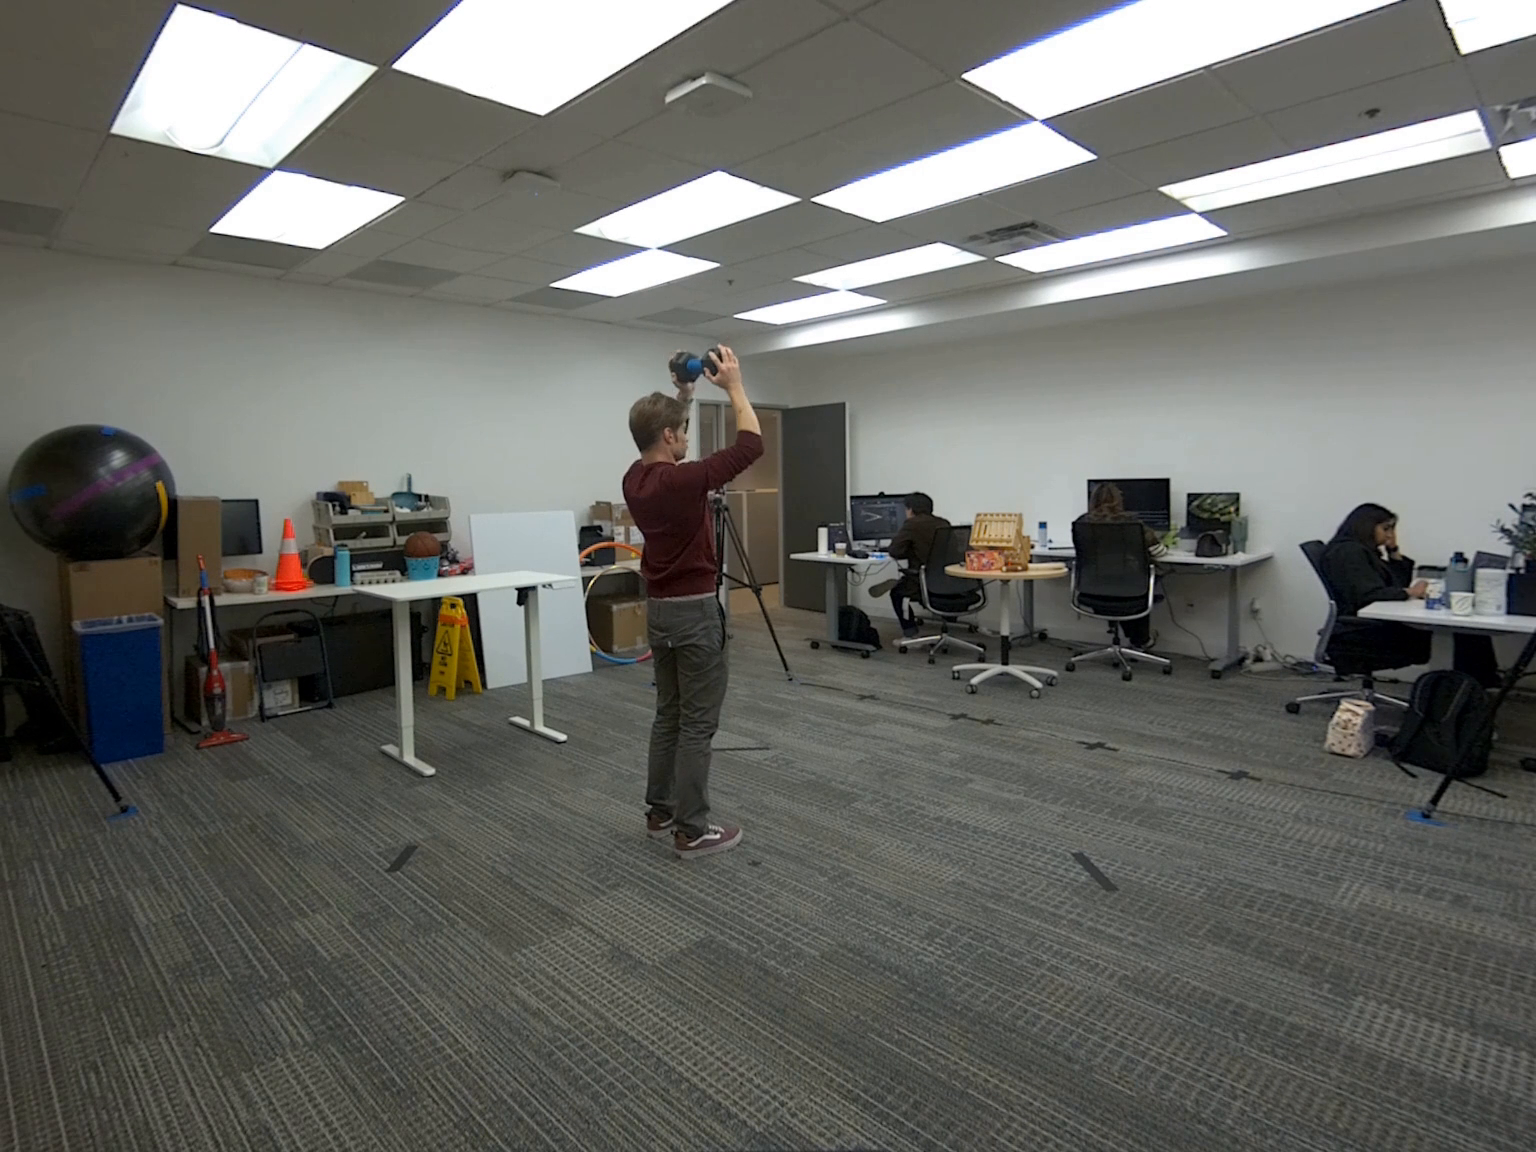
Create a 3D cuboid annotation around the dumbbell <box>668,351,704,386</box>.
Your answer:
[{"bbox_3d":[-0.252,-0.803,3.257,0.107,0.120,0.303,-24,22,-32],"label":"dumbbell"}]
